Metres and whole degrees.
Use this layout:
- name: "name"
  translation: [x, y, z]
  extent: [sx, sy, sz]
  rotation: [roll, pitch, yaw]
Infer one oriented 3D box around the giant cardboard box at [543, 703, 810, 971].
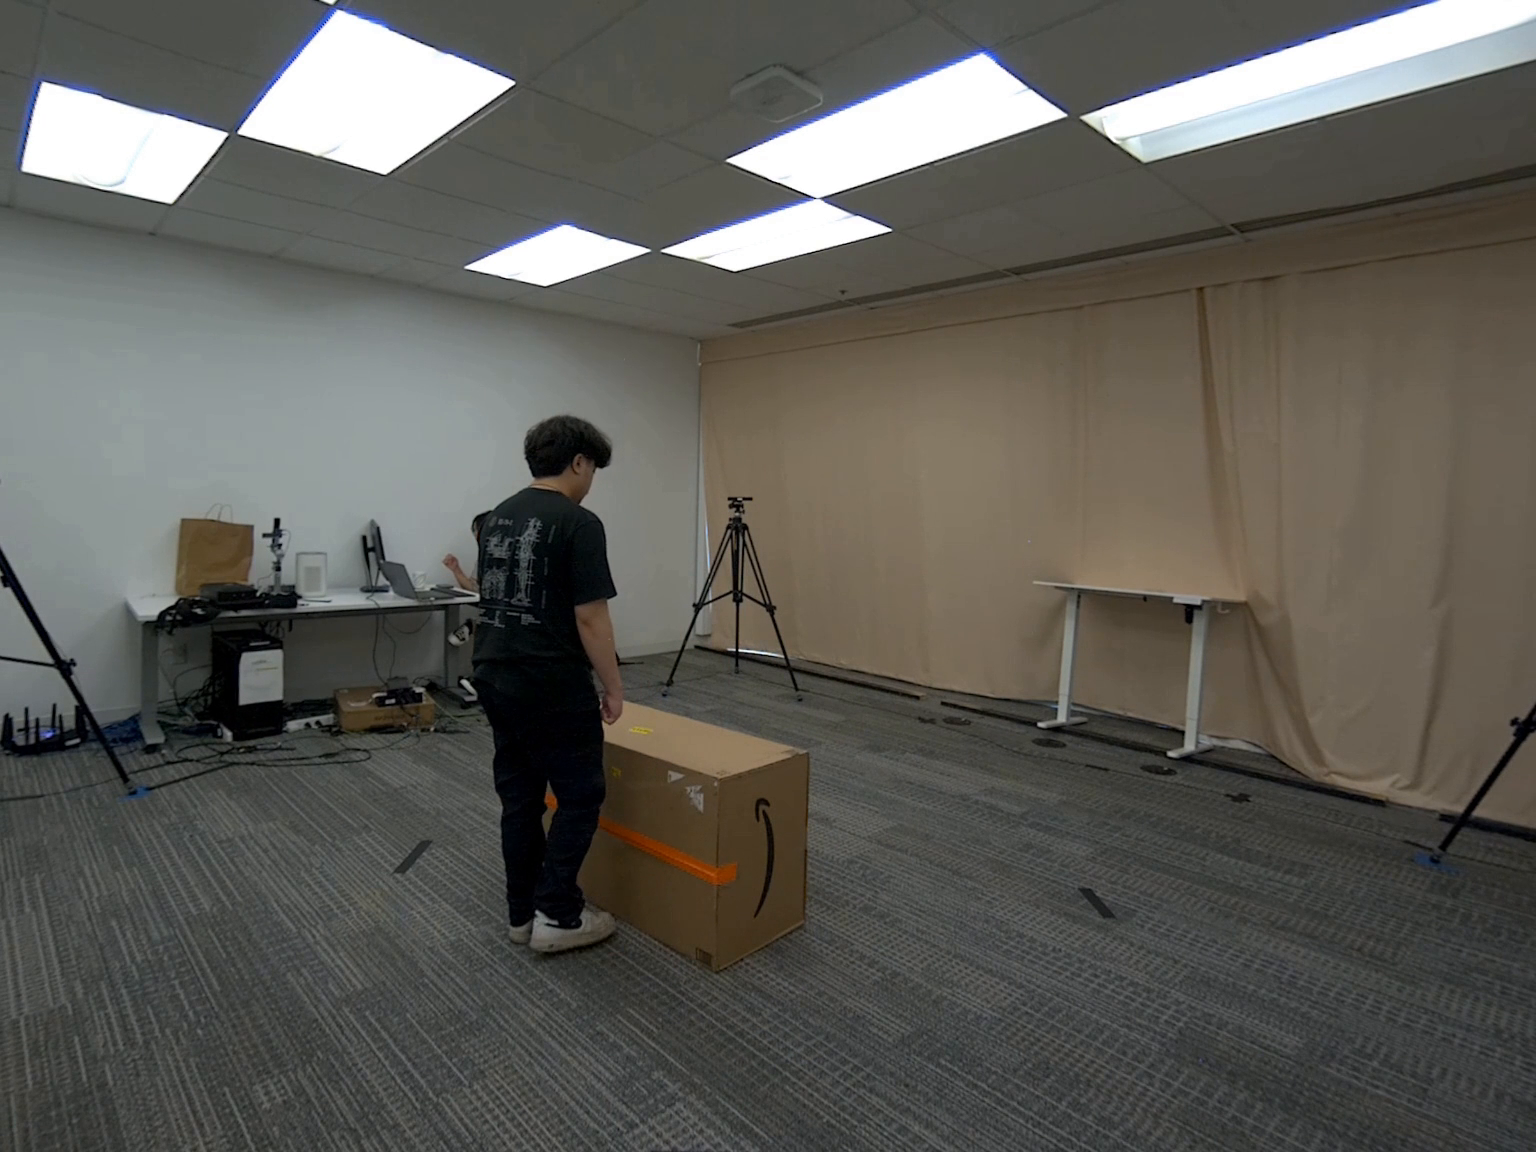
- name: "giant cardboard box"
  translation: [-0.398, 0.832, 2.949]
  extent: [1.053, 0.582, 0.437]
  rotation: [5, 6, 42]
